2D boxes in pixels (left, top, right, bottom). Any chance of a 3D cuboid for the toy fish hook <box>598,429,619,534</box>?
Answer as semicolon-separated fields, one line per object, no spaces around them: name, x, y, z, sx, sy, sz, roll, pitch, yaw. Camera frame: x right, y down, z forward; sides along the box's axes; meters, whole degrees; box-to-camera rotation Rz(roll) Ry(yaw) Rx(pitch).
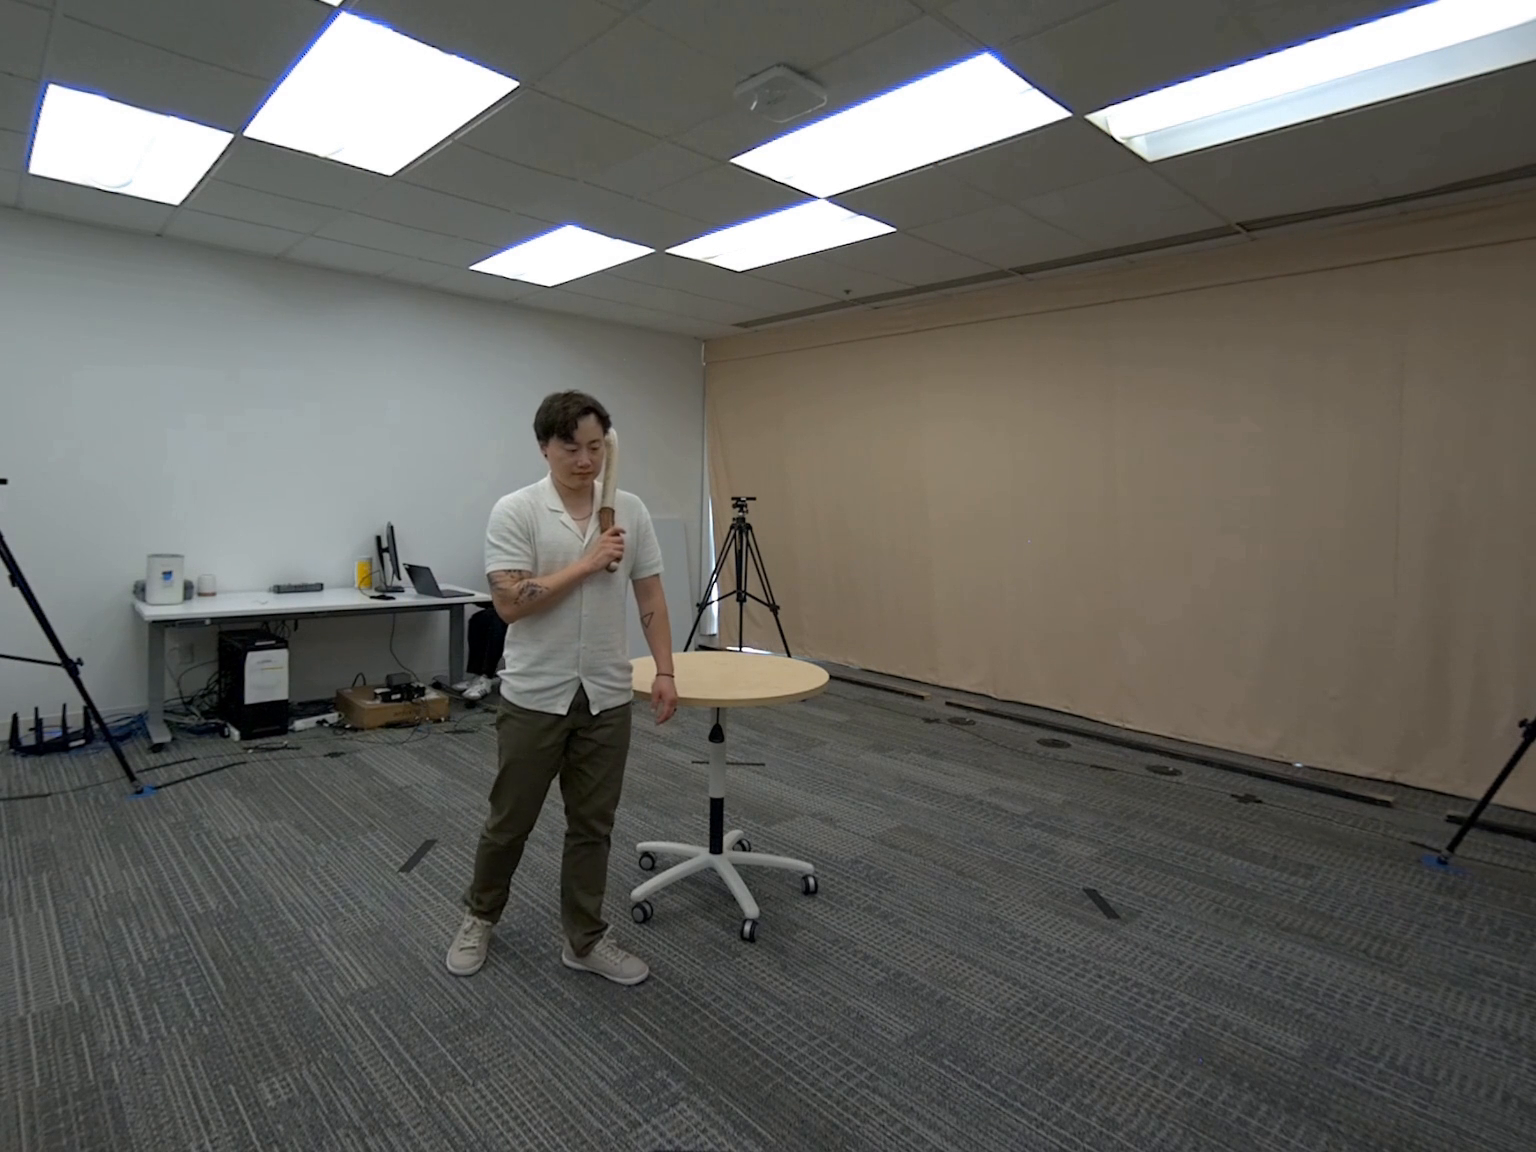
toy fish hook;-0.508;-0.207;2.436;0.047;0.517;0.226;15;-36;-34
